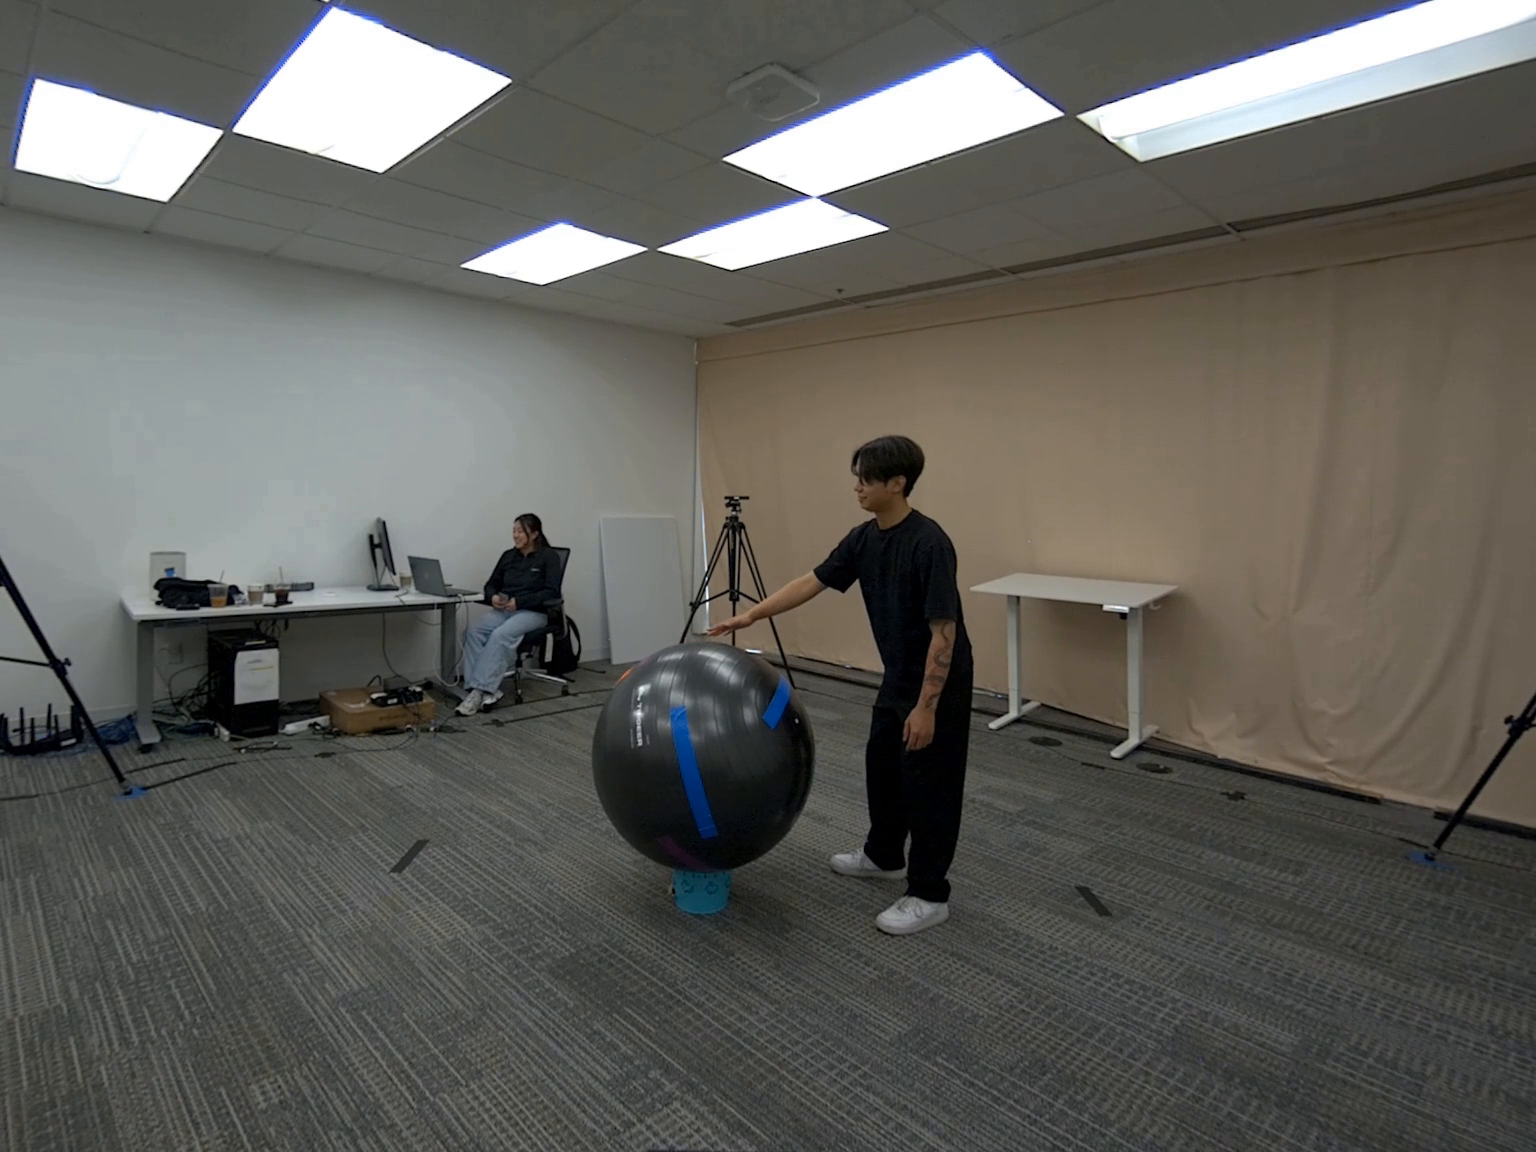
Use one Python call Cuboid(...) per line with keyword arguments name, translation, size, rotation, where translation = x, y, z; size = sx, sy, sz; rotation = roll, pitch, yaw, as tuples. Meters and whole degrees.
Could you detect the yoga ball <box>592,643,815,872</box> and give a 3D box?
Cuboid(name="yoga ball", translation=(-0.233, 0.614, 2.878), size=(0.757, 0.756, 0.761), rotation=(1, 4, -1))
